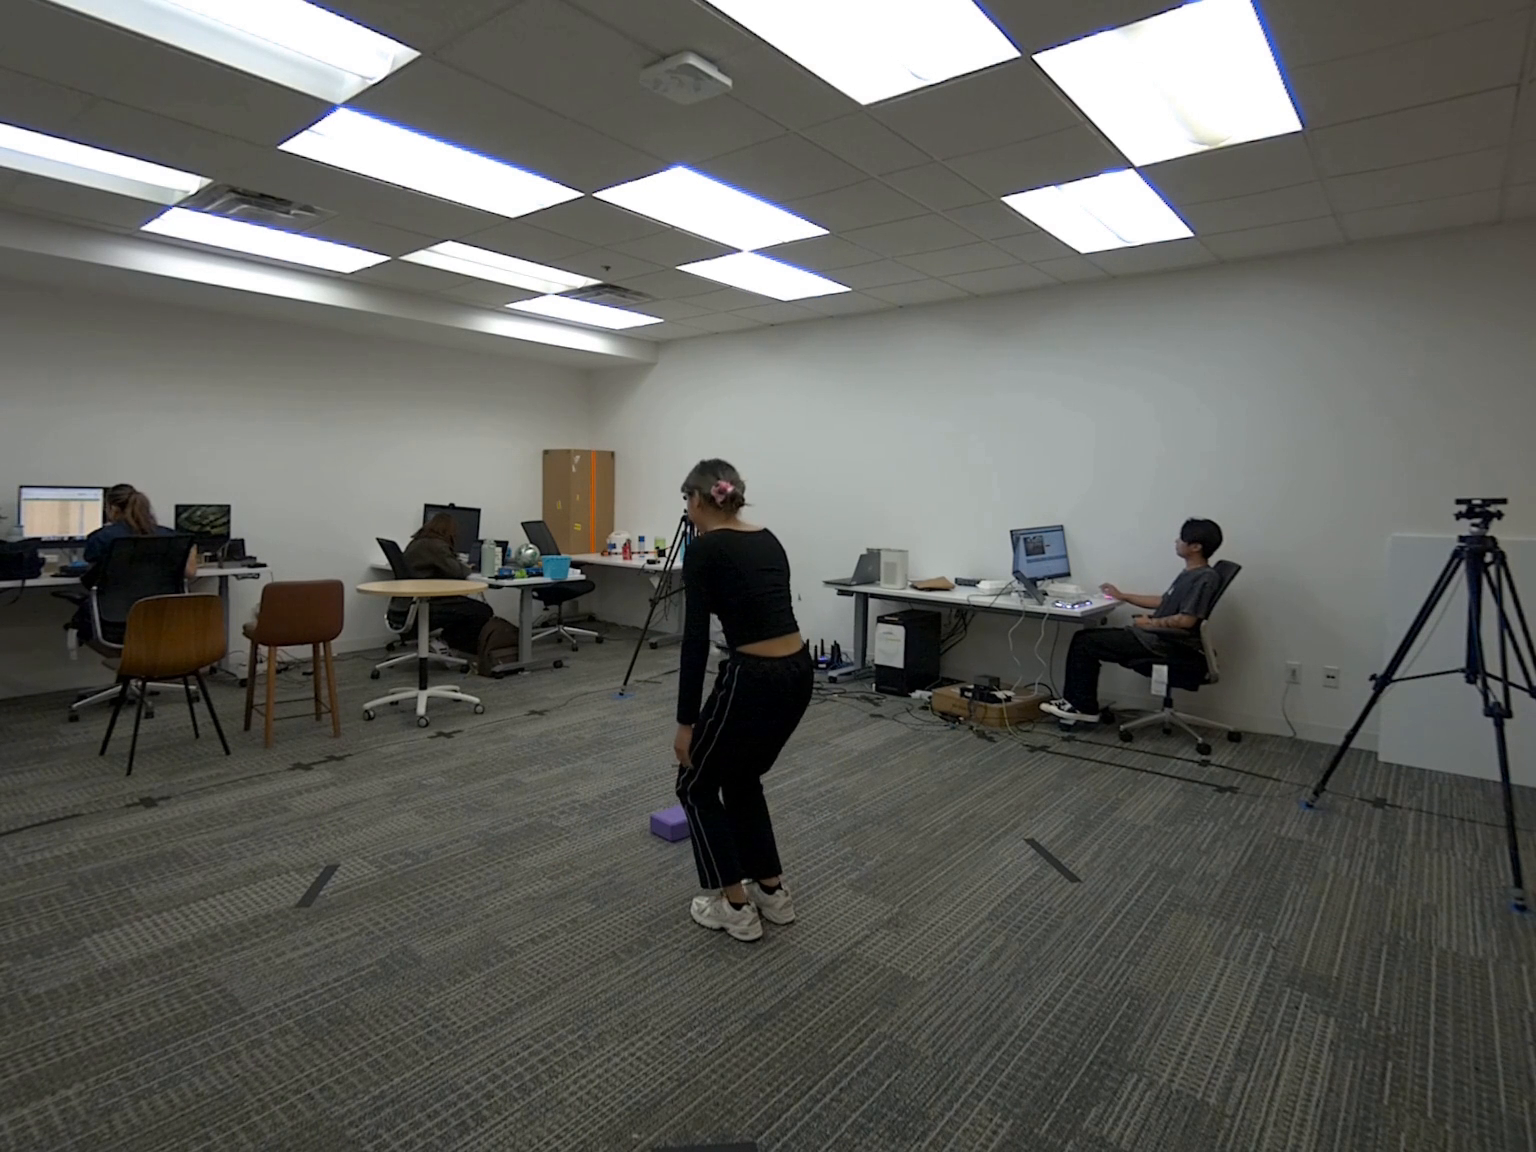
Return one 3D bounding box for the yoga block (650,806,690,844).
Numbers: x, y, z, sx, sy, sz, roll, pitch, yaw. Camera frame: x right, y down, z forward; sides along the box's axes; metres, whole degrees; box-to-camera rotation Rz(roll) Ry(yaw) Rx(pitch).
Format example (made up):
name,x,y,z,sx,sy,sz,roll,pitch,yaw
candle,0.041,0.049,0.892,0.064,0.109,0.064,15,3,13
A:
name,x,y,z,sx,sy,sz,roll,pitch,yaw
yoga block,-0.362,0.992,3.461,0.222,0.076,0.154,-4,6,-44
